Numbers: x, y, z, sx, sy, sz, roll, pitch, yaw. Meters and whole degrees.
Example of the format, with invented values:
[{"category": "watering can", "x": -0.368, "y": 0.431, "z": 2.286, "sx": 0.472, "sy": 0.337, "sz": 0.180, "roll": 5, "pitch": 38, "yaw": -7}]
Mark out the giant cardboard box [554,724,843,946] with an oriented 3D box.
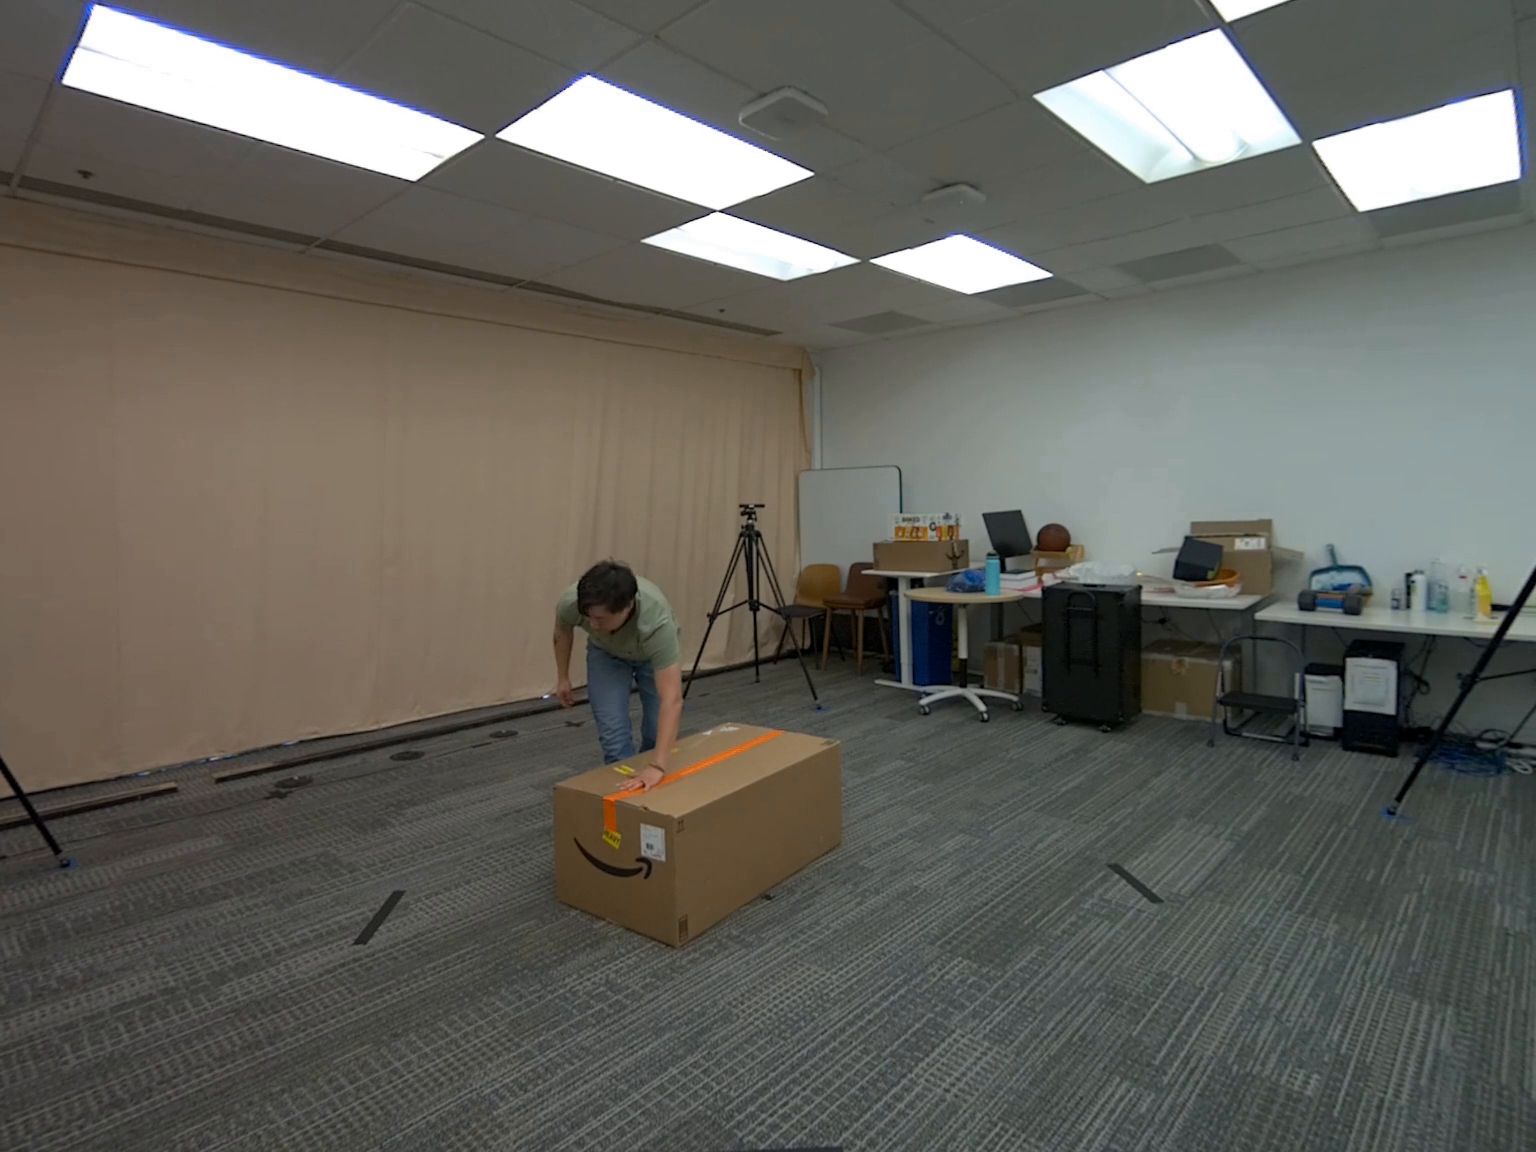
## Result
[{"category": "giant cardboard box", "x": -0.222, "y": 0.914, "z": 3.202, "sx": 0.596, "sy": 0.425, "sz": 0.996, "roll": 1, "pitch": 5, "yaw": 36}]
